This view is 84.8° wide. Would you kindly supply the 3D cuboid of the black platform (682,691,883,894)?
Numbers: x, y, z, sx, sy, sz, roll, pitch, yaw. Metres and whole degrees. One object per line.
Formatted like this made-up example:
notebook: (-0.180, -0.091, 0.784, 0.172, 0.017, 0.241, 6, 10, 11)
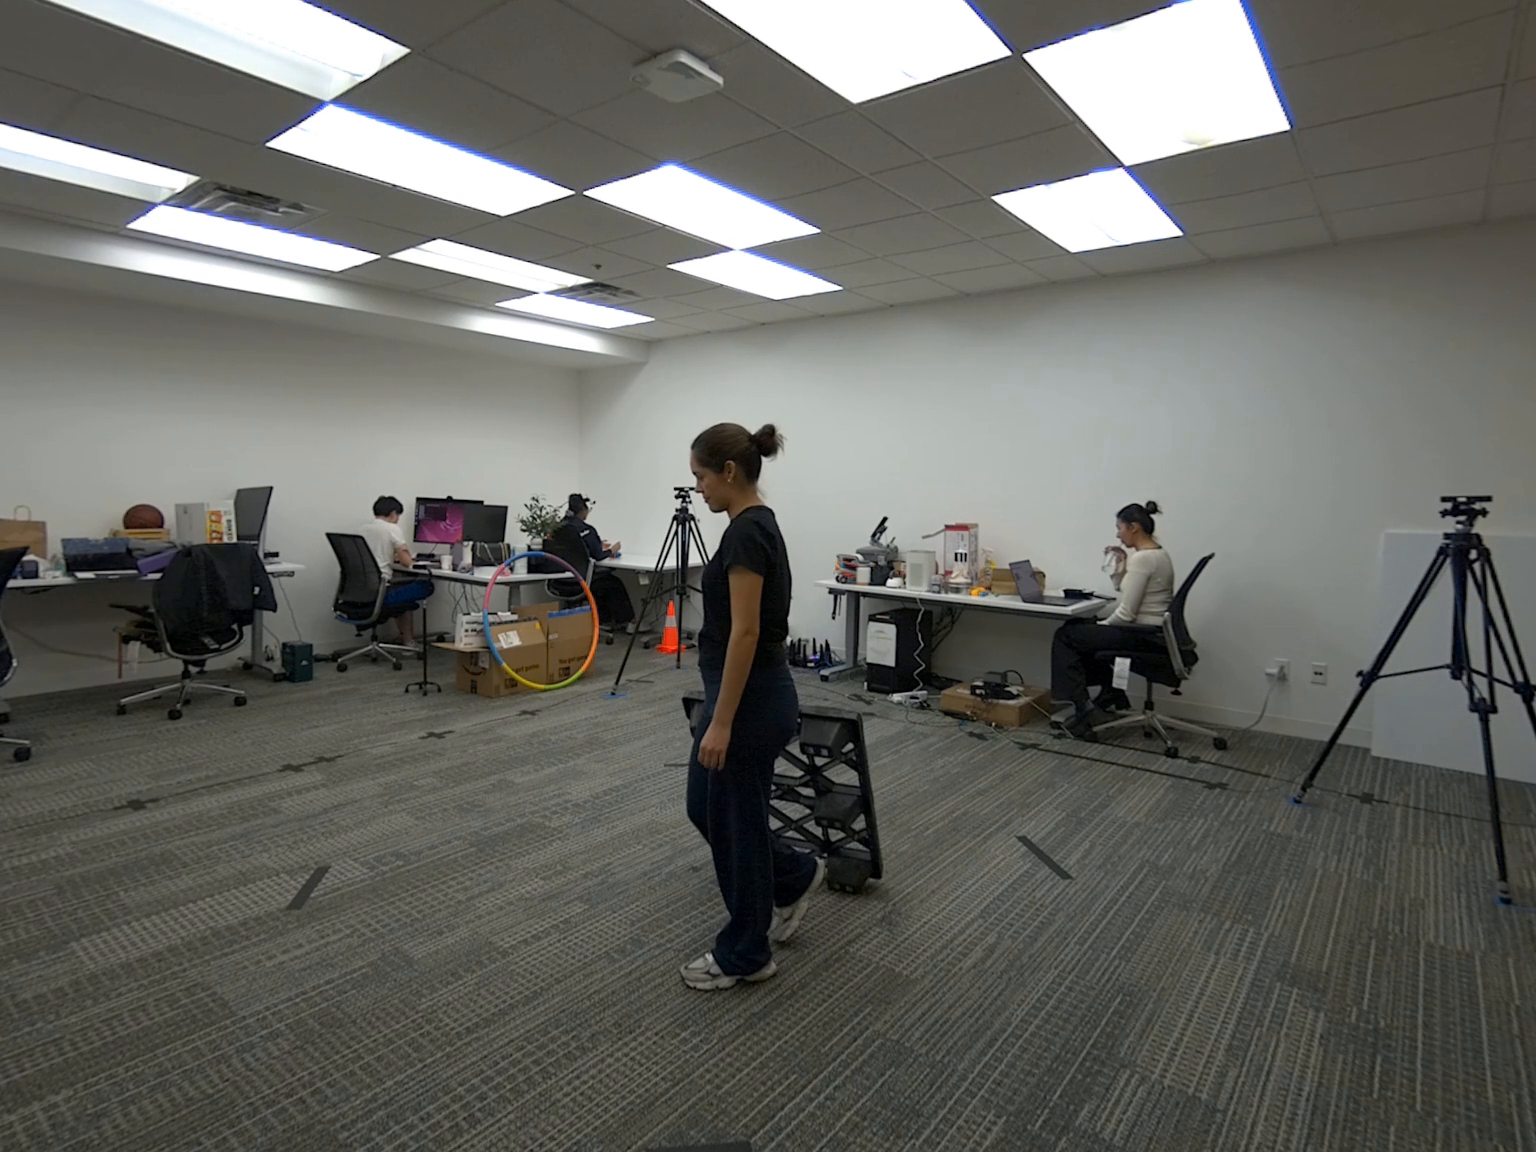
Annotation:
black platform: (0.059, 0.743, 2.886, 0.619, 0.781, 0.144, 3, 35, 22)
